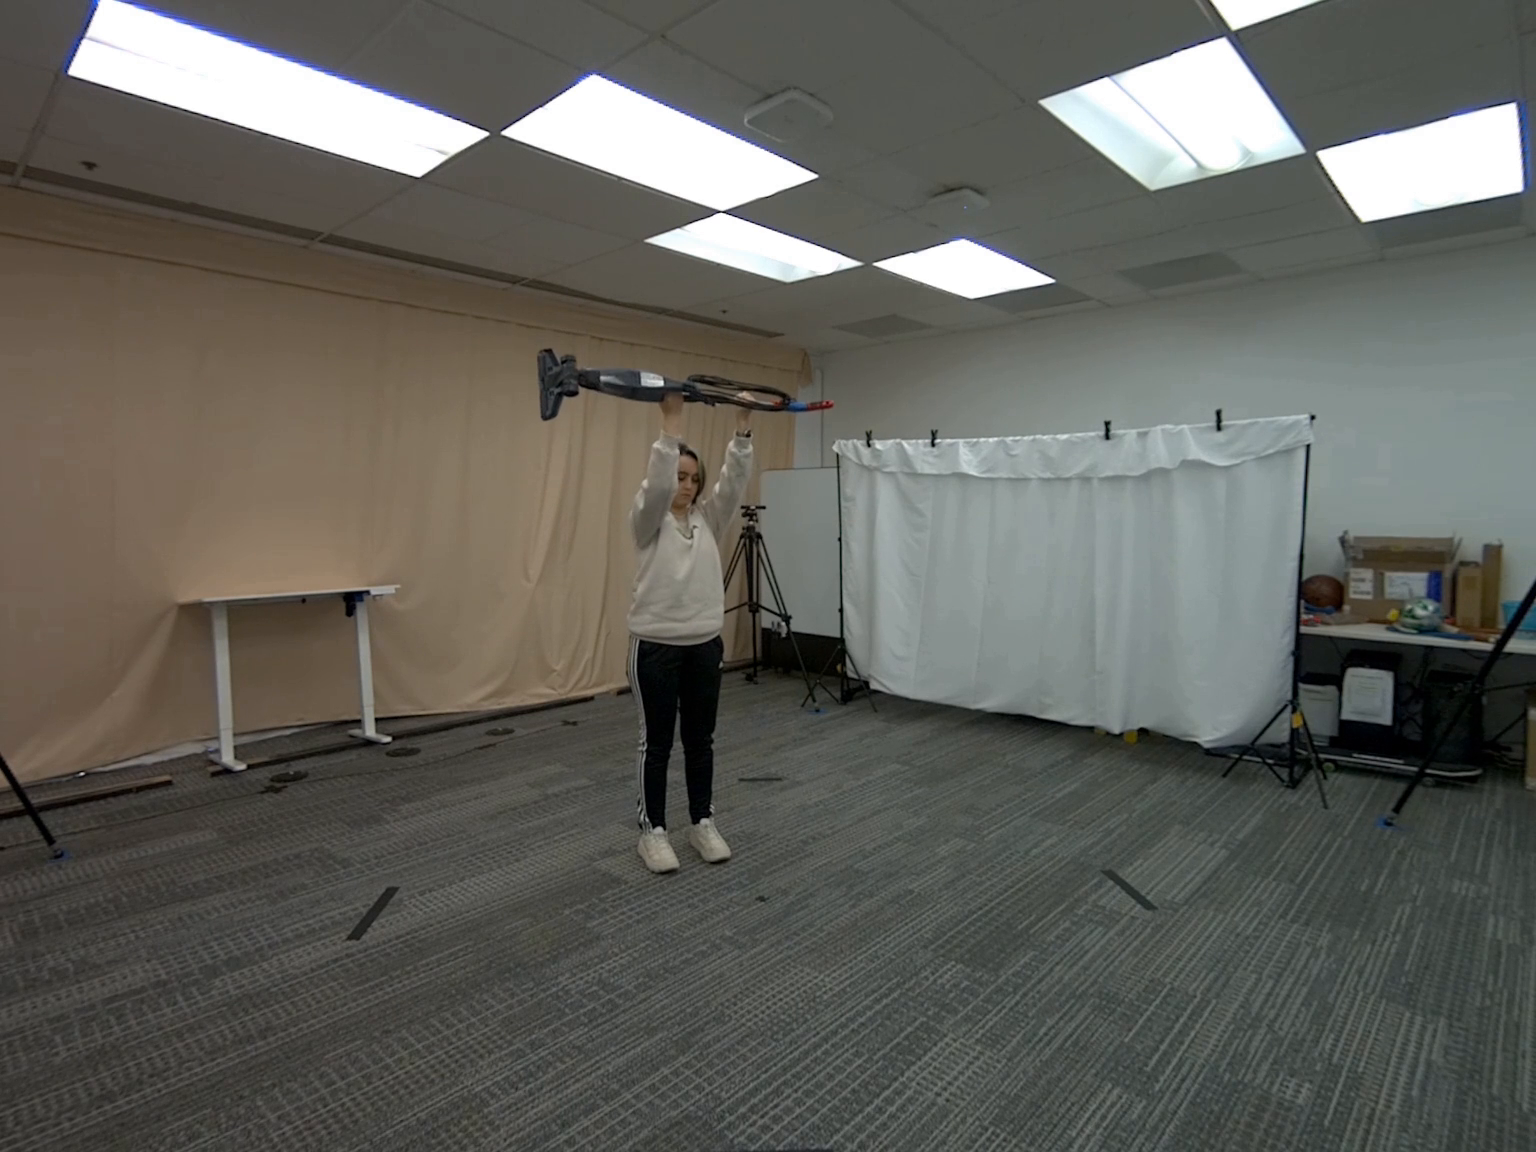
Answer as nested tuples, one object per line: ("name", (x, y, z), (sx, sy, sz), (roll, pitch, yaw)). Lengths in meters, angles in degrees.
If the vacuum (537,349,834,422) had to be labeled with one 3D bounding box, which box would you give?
("vacuum", (-0.238, -0.648, 2.975), (1.027, 0.256, 0.145), (-1, -19, -21))
